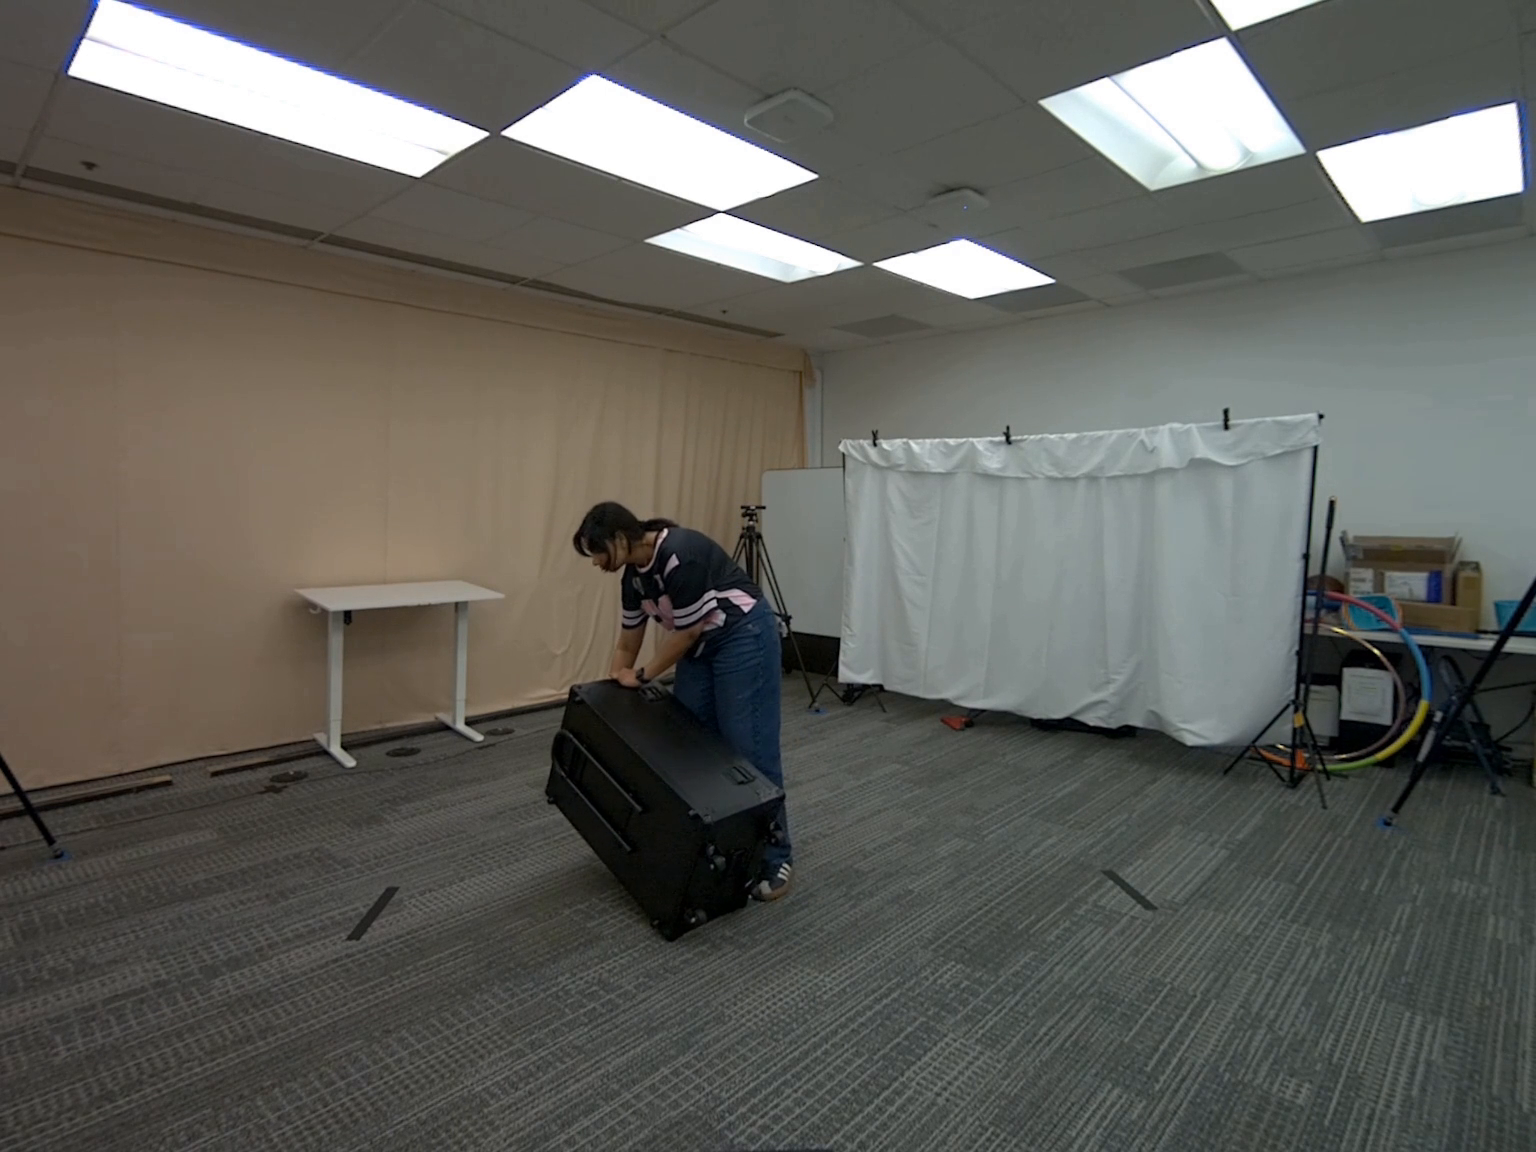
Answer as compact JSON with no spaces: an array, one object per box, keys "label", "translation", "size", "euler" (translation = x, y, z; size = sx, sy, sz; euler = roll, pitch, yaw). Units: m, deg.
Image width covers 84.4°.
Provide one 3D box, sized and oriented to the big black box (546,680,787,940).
[{"label":"big black box","translation":[-0.371,0.777,2.941],"size":[0.373,0.521,0.900],"euler":[-1,28,-46]}]
